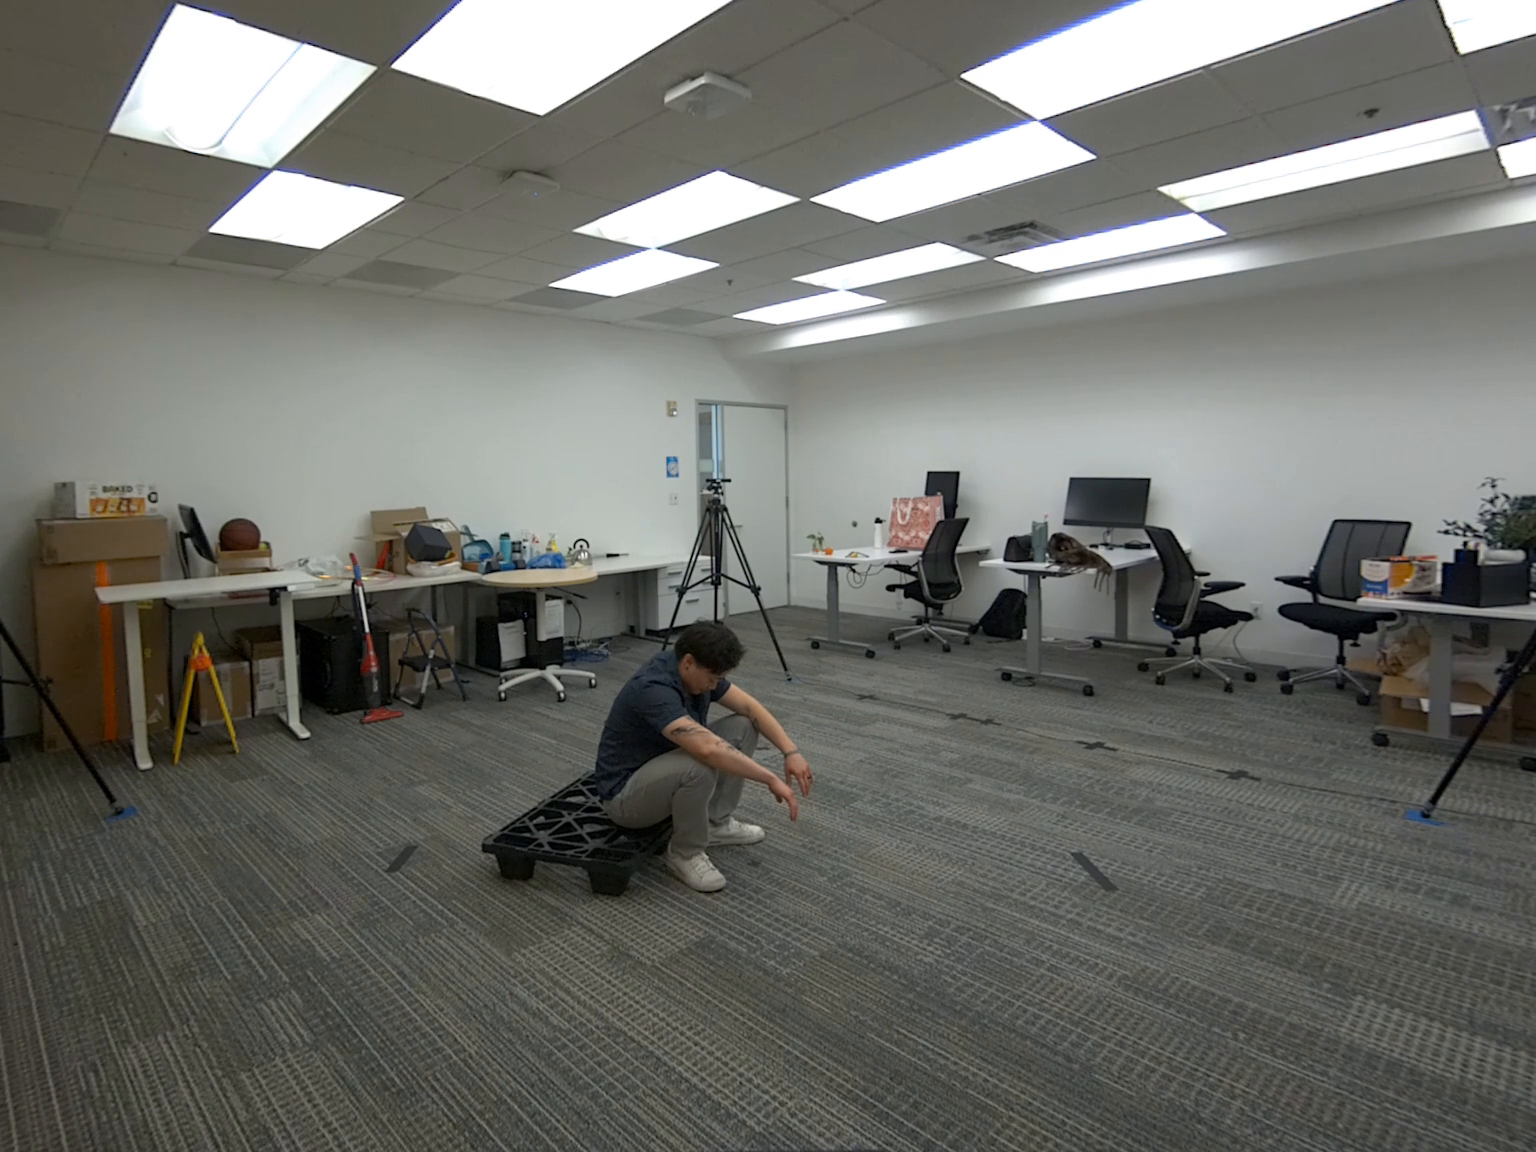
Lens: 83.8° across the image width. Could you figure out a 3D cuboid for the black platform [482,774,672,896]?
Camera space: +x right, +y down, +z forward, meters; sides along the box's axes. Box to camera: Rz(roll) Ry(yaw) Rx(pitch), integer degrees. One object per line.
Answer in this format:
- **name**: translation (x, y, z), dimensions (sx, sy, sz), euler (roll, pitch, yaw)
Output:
- **black platform**: translation (-0.609, 0.967, 3.293), dimensions (0.616, 0.143, 0.794), euler (1, 7, 18)
